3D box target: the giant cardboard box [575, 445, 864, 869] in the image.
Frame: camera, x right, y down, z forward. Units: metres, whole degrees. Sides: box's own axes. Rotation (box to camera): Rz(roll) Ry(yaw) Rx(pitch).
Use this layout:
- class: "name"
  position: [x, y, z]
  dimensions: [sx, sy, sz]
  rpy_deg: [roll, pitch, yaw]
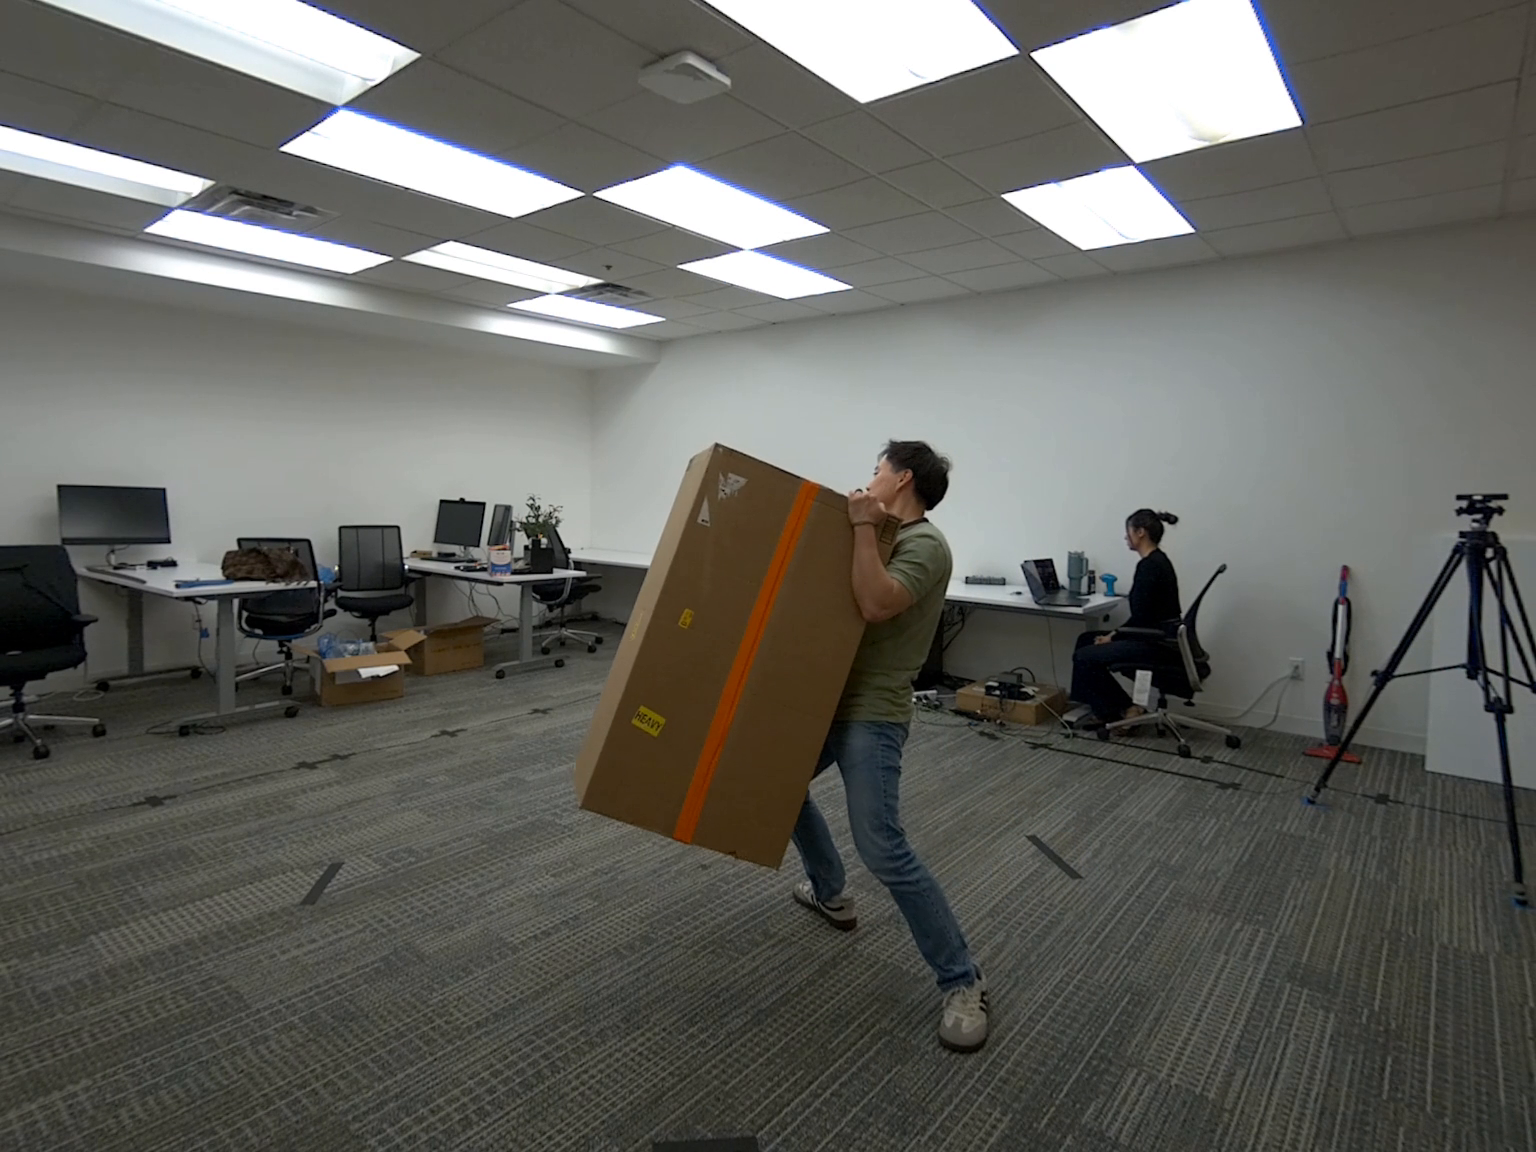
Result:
- class: "giant cardboard box"
  position: [-0.121, 0.202, 2.490]
  dimensions: [0.569, 1.028, 0.431]
  rpy_deg: [21, -5, -12]
